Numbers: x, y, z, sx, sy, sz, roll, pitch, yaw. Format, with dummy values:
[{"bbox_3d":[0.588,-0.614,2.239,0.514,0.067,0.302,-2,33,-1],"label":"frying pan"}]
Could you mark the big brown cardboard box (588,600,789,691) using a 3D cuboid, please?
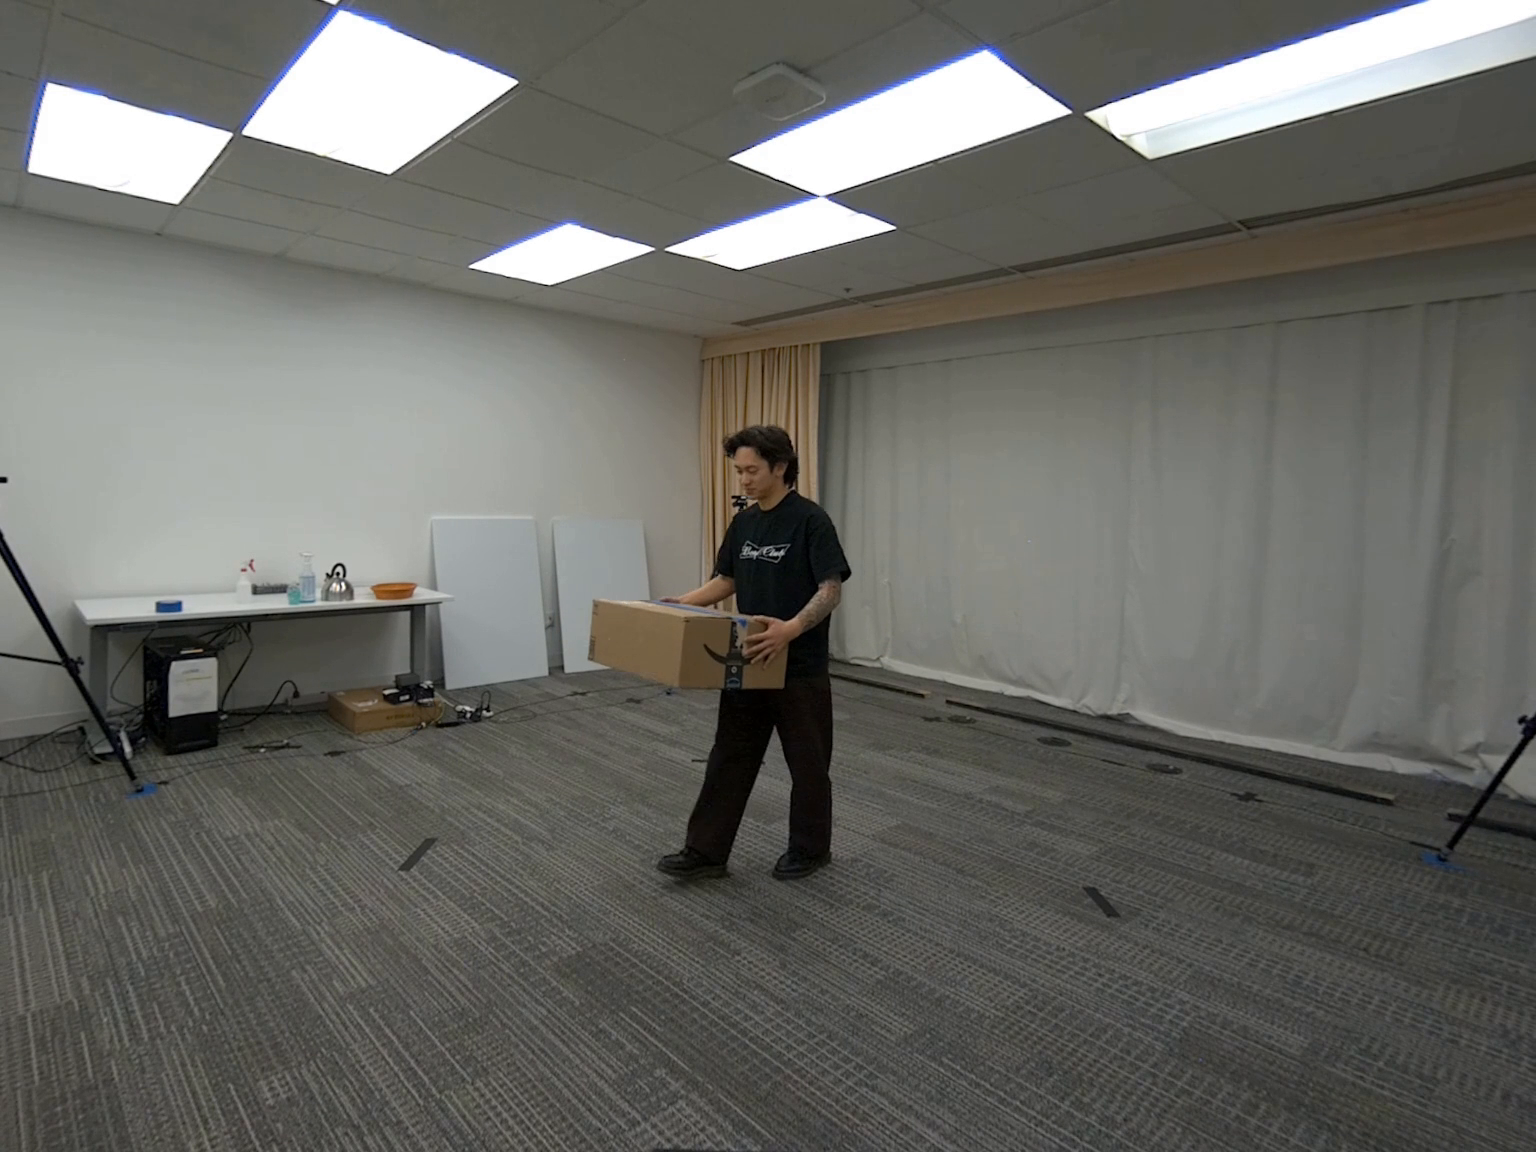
[{"bbox_3d":[-0.291,0.221,2.818,0.407,0.233,0.604,5,1,-39],"label":"big brown cardboard box"}]
